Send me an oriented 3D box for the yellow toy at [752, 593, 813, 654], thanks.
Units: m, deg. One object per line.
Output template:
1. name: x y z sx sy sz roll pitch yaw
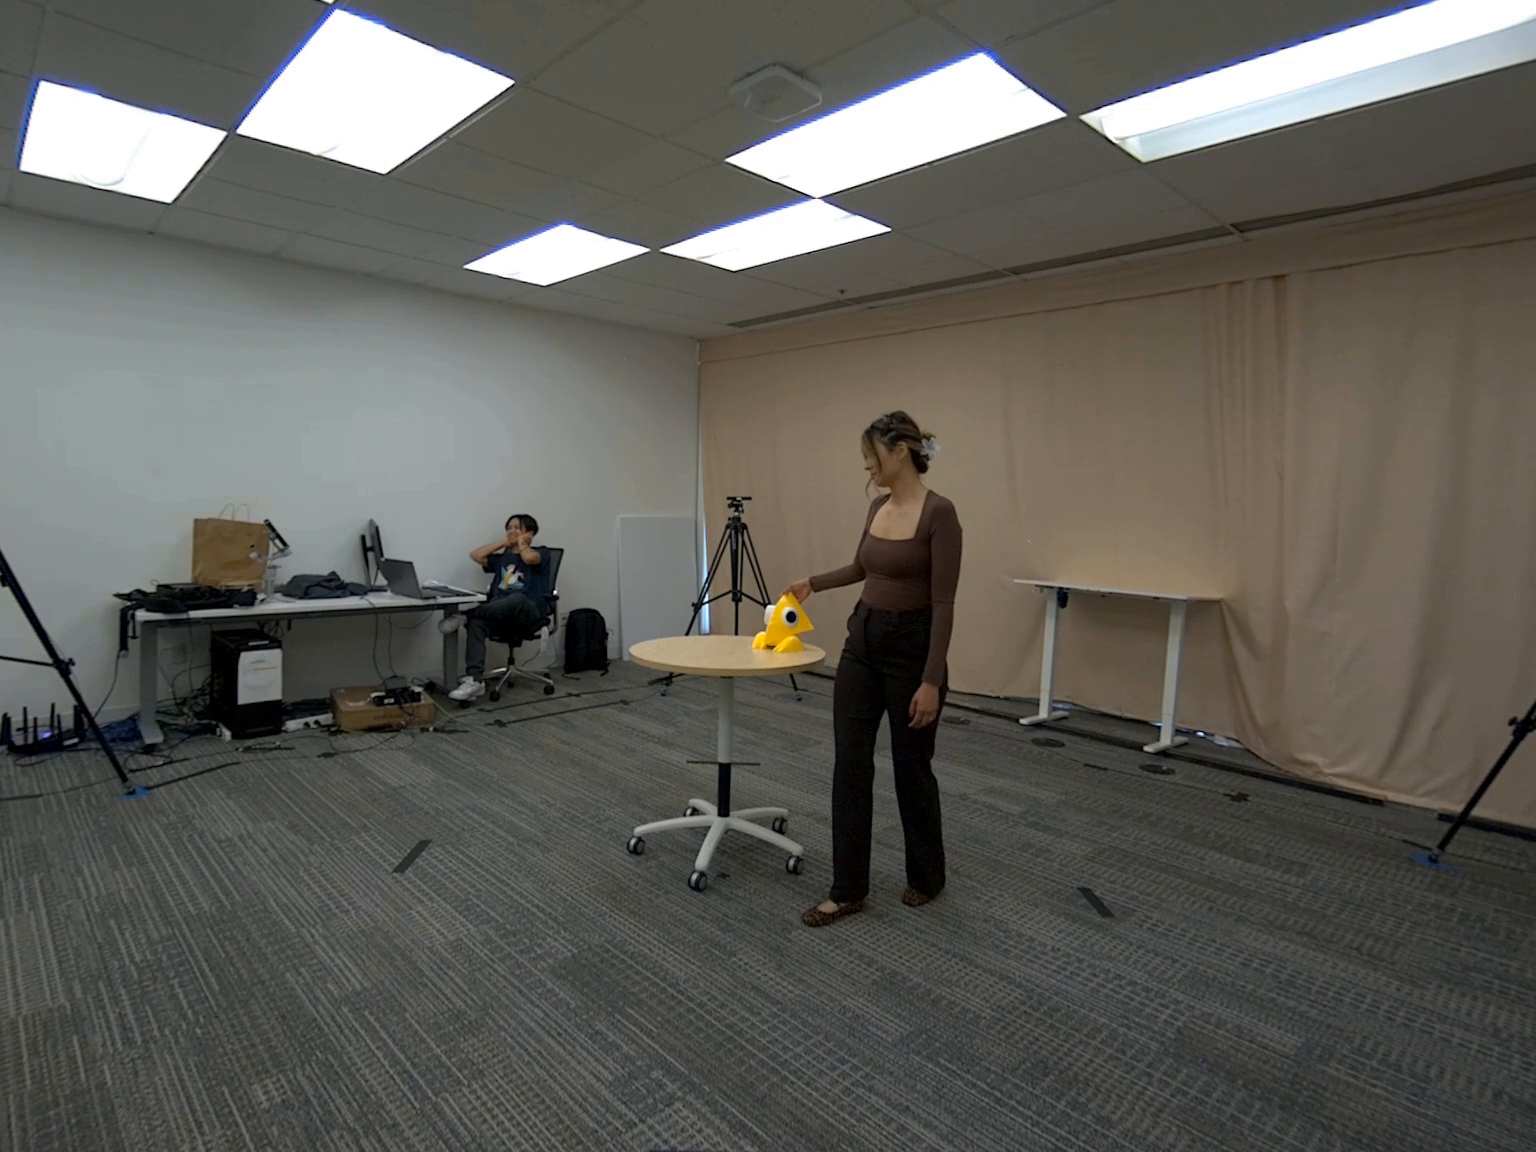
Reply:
1. yellow toy: 0.042 0.176 3.381 0.210 0.230 0.189 4 5 40
